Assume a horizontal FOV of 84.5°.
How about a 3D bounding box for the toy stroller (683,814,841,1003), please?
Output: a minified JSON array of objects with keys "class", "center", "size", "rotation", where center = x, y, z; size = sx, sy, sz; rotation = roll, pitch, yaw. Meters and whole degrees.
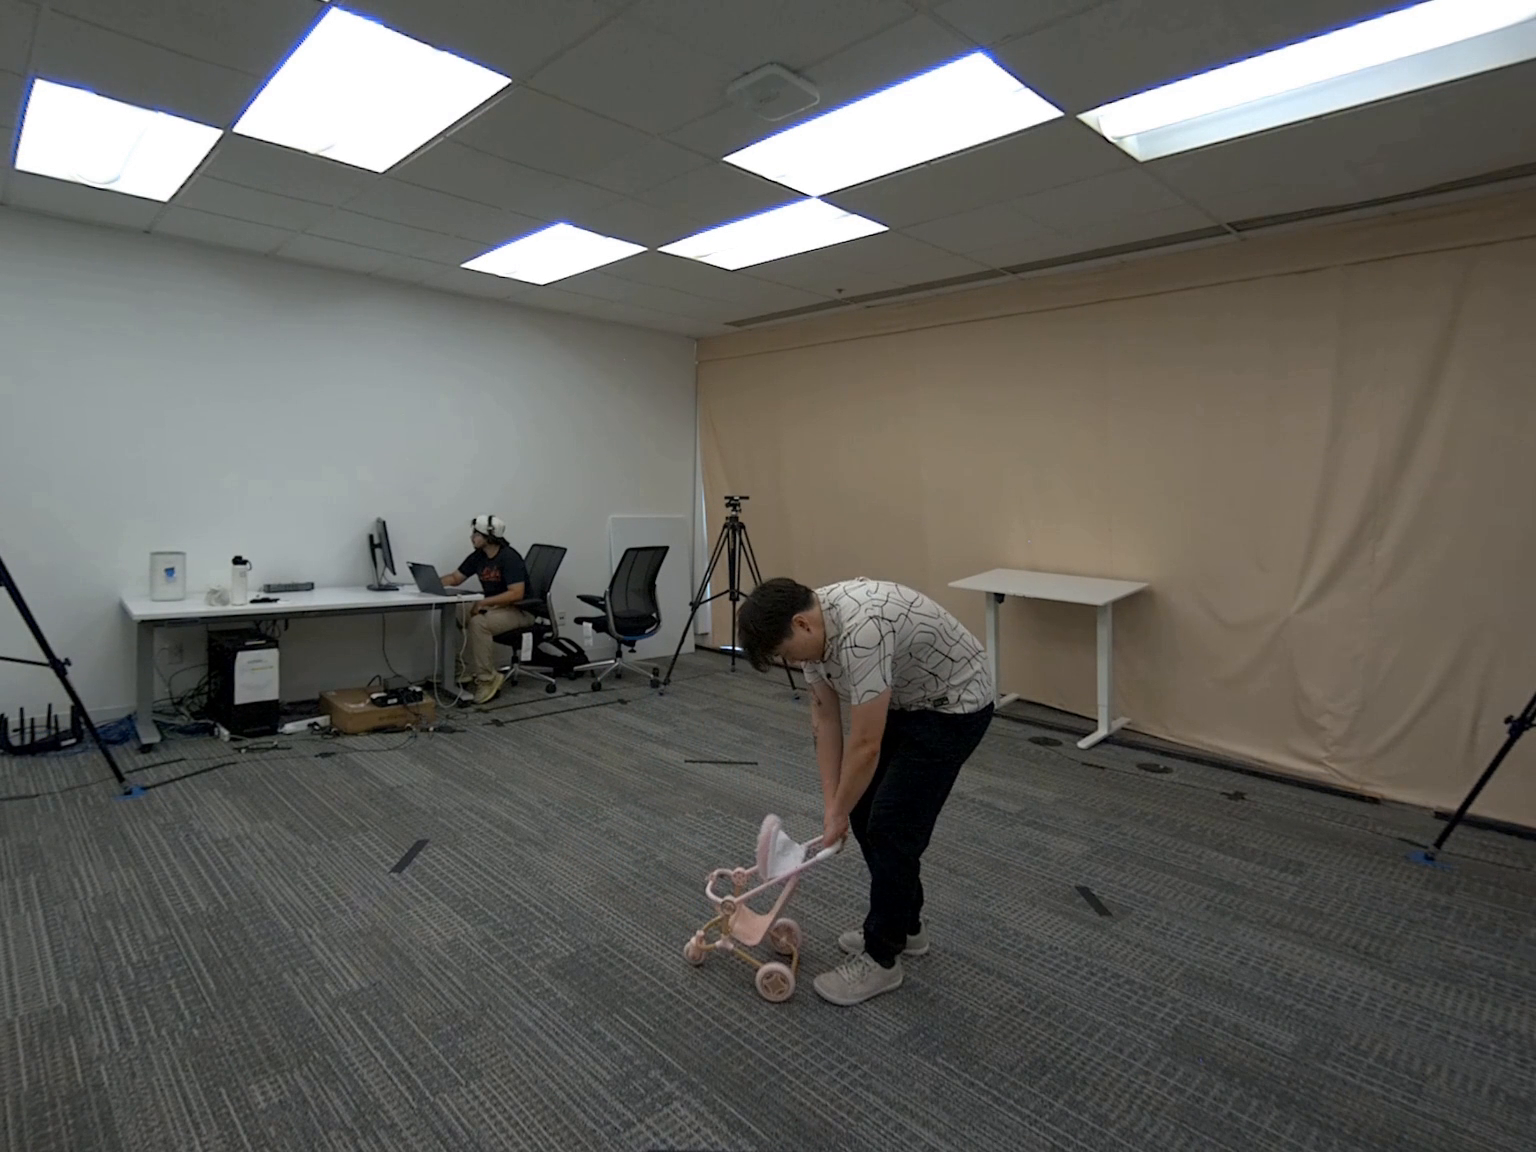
[{"class":"toy stroller","center":[-0.027,0.937,2.462],"size":[0.346,0.533,0.278],"rotation":[19,7,13]}]
